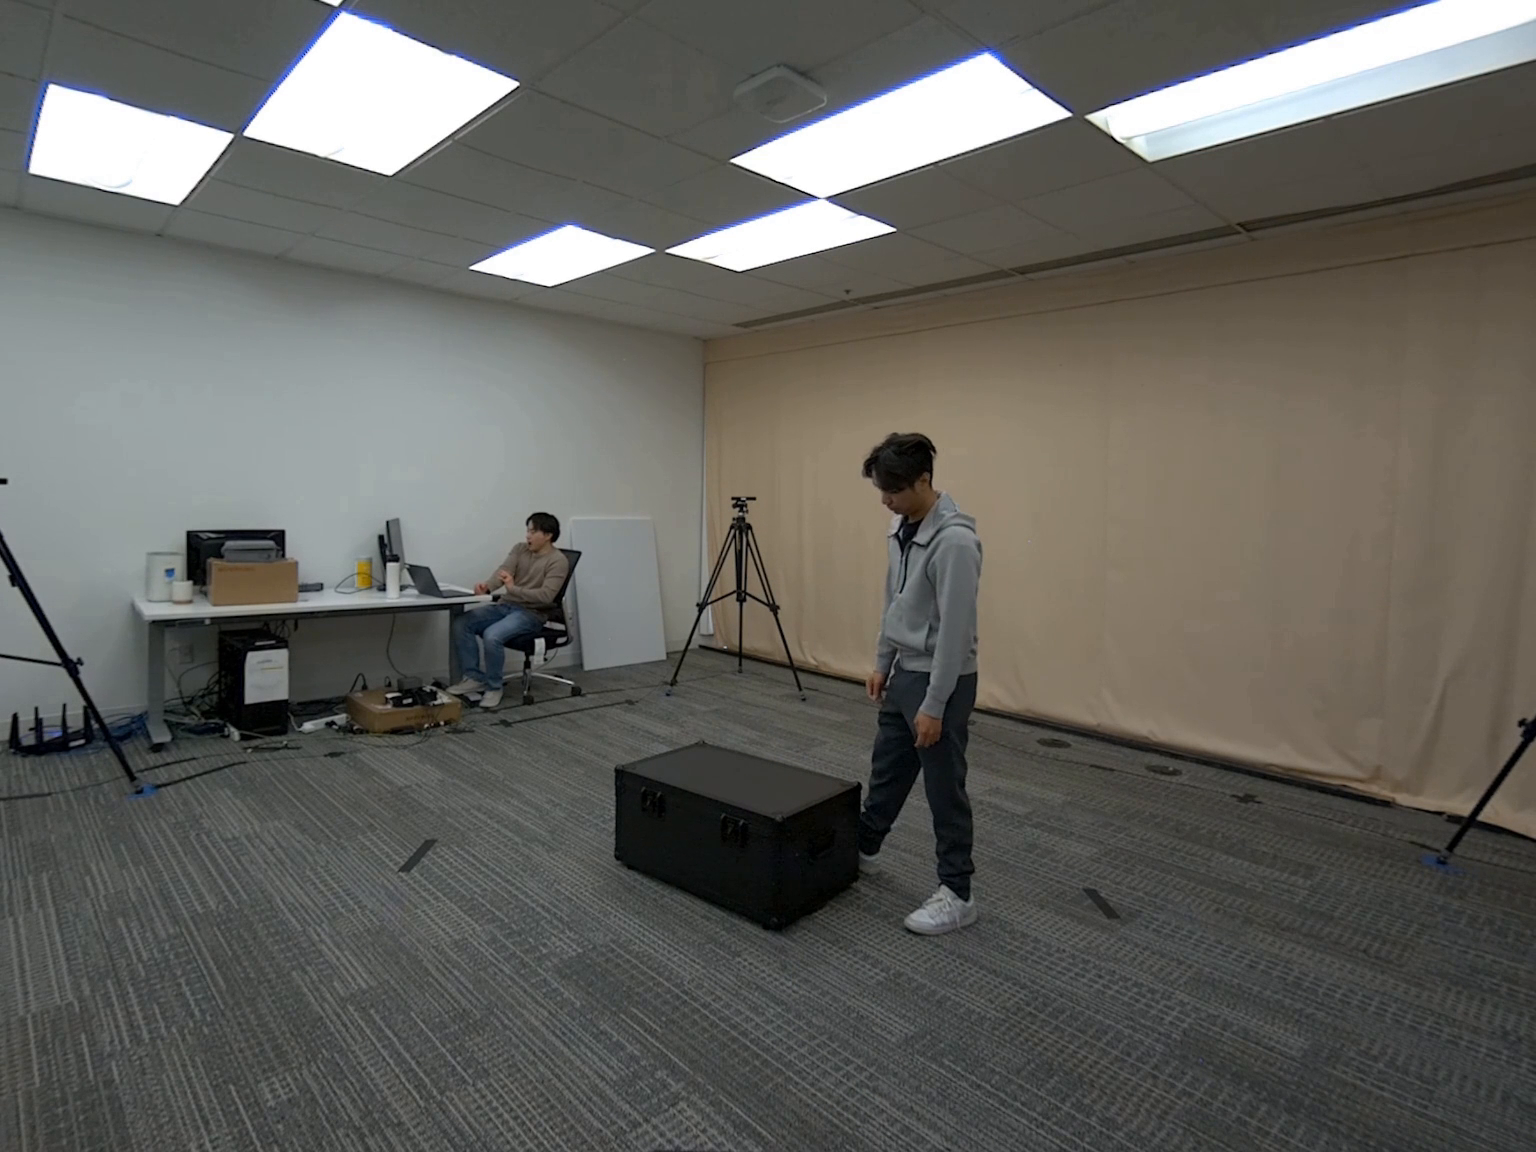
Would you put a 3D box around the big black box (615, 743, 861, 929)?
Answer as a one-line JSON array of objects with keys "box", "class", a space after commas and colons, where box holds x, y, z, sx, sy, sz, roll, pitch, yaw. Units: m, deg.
[{"box": [-0.152, 0.914, 3.120, 0.883, 0.395, 0.510, 6, 6, 39], "class": "big black box"}]
